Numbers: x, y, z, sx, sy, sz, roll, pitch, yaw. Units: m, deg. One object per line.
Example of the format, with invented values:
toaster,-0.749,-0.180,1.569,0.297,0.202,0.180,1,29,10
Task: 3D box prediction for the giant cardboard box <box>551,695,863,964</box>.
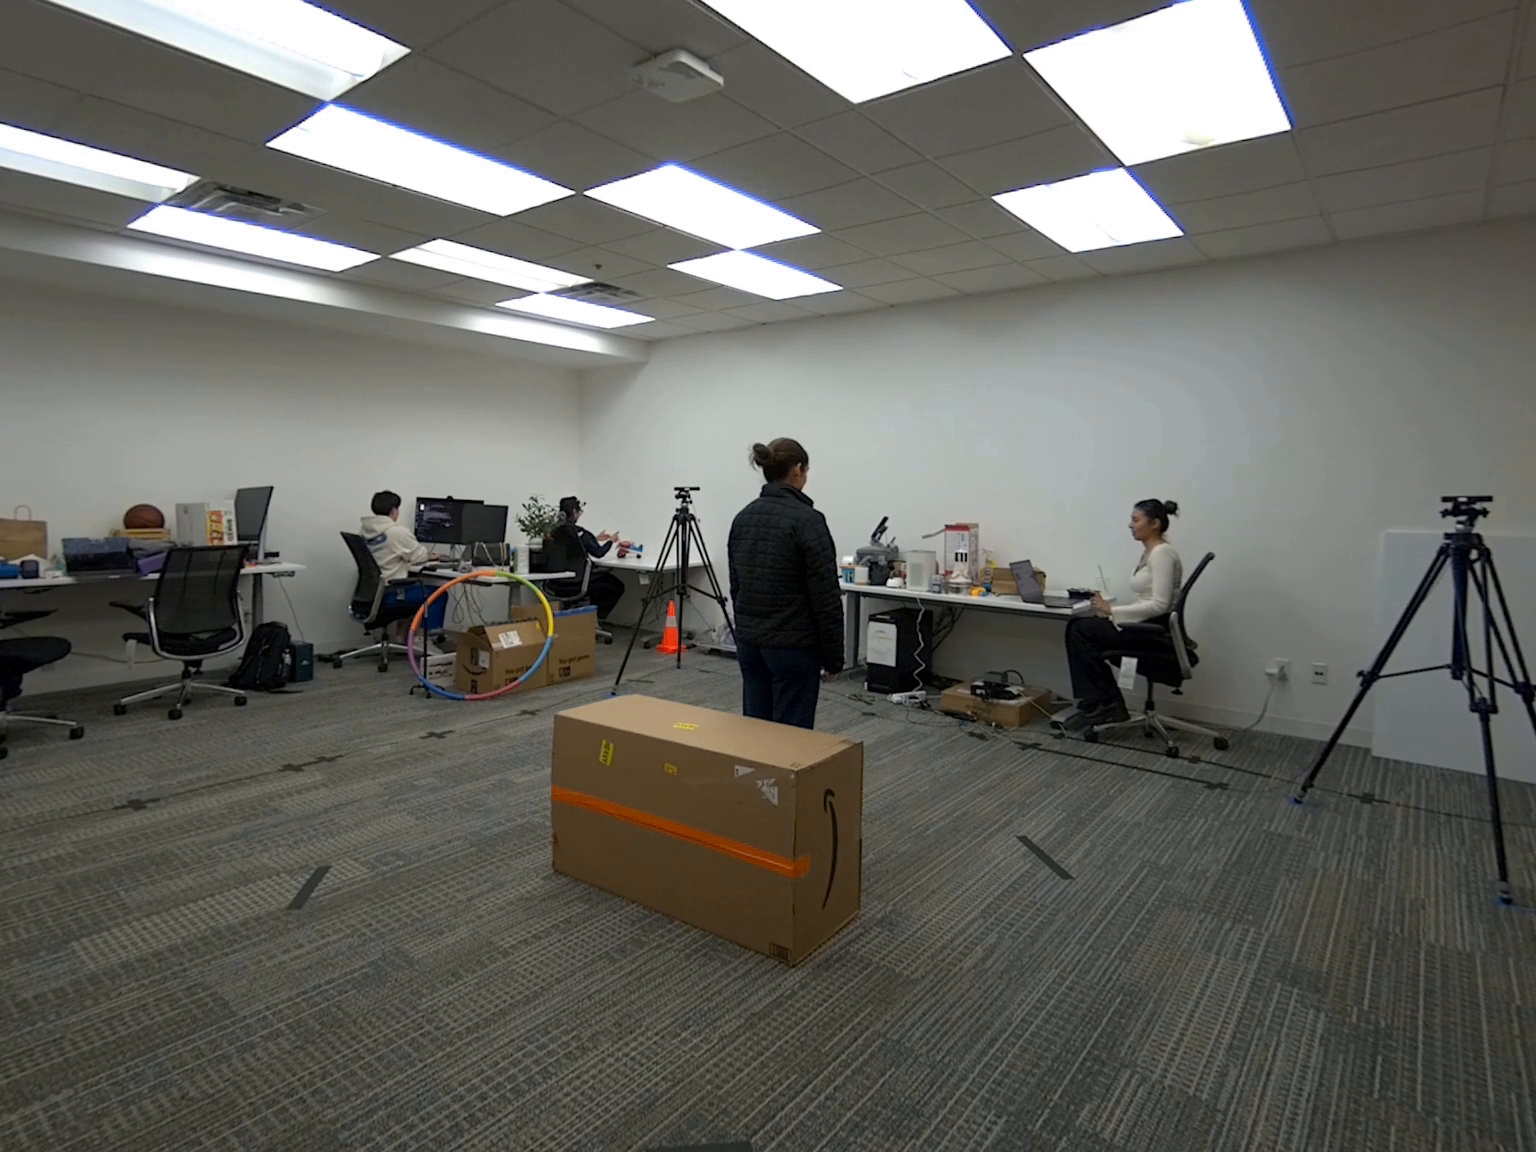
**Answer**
giant cardboard box,-0.223,0.798,2.933,1.059,0.576,0.413,4,4,36
